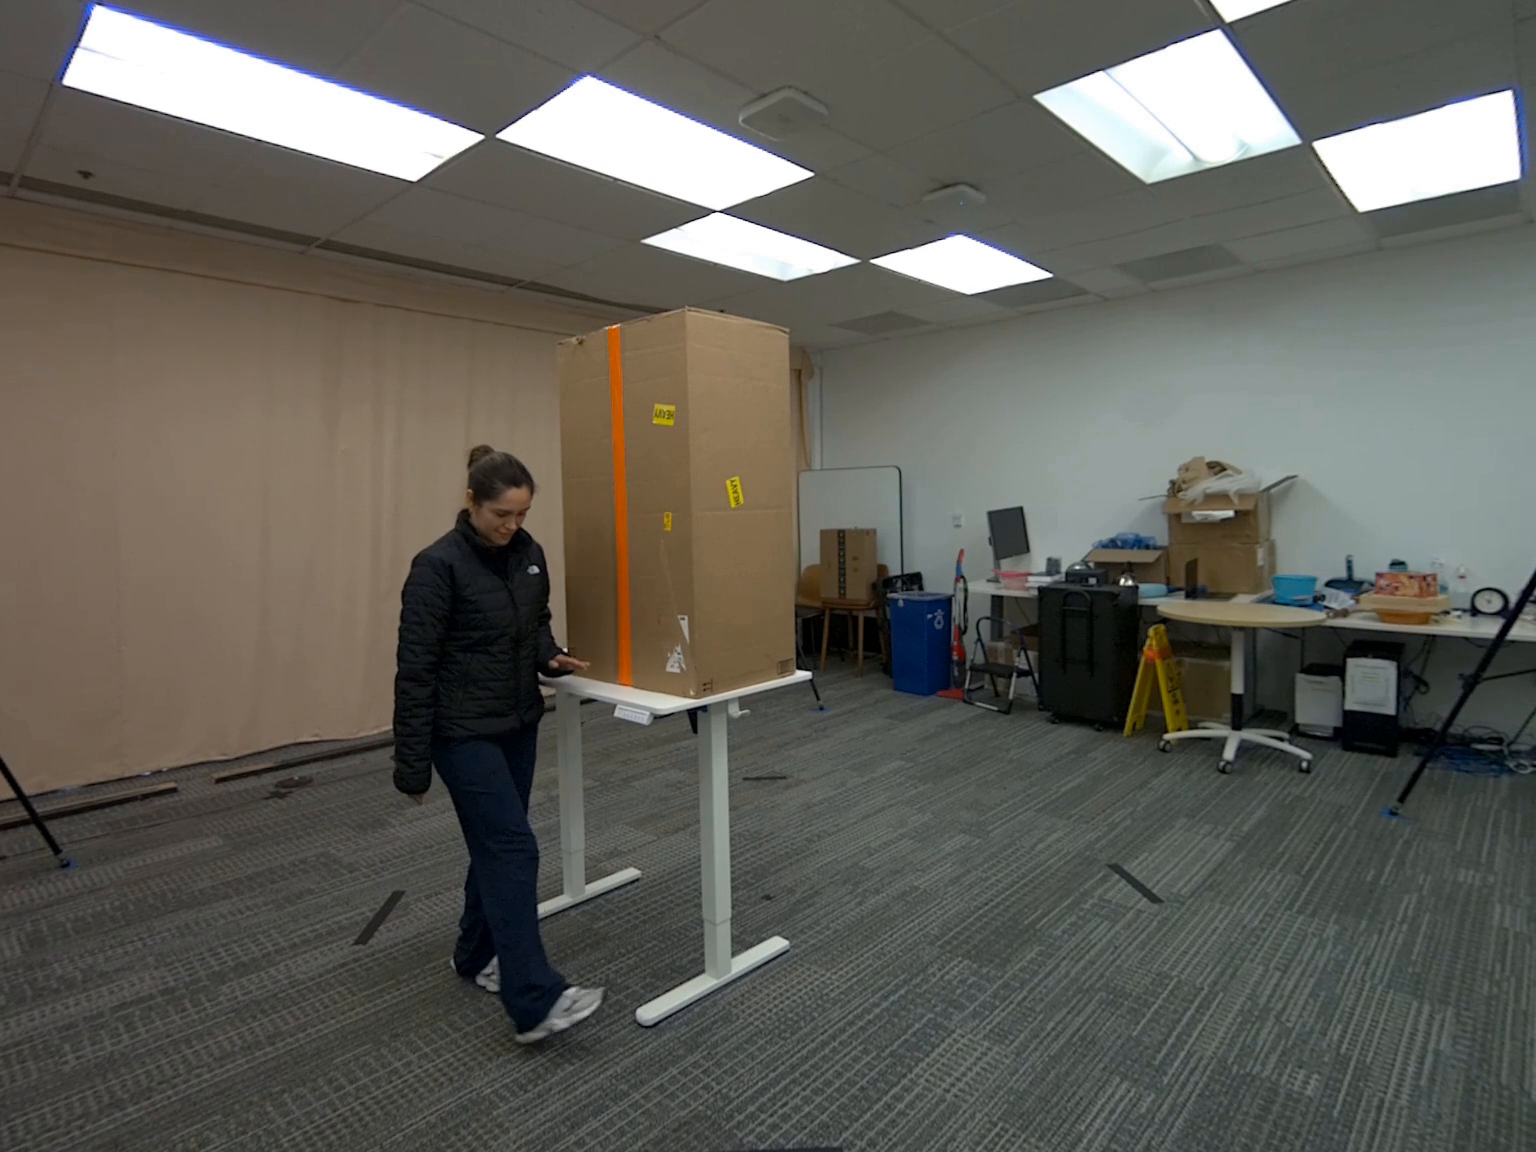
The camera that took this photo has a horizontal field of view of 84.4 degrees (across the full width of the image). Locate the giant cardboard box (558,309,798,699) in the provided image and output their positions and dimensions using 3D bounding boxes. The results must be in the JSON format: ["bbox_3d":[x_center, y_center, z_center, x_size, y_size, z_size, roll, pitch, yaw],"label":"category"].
[{"bbox_3d":[-0.266,-0.207,2.534,0.596,1.023,0.413,2,5,42],"label":"giant cardboard box"}]
